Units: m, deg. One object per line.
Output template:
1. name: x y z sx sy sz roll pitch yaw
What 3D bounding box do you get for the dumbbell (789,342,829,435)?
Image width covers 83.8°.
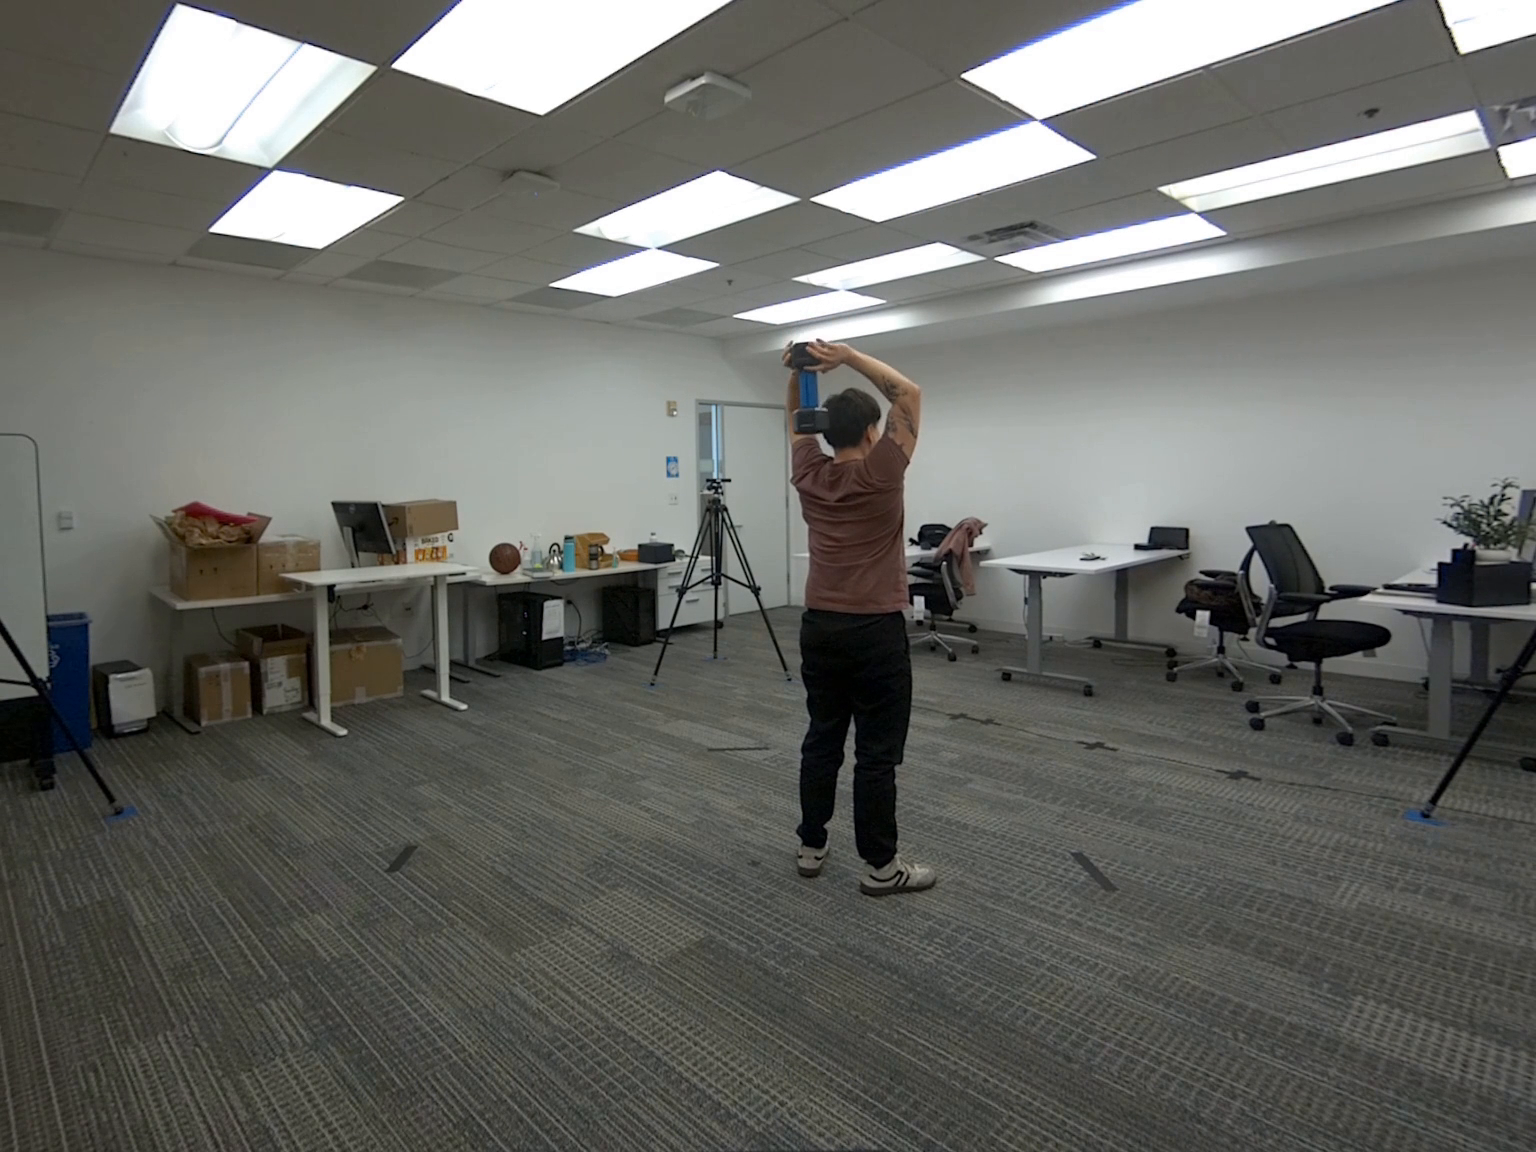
1. dumbbell: 0.139 -0.610 2.777 0.119 0.294 0.111 0 -3 -39
